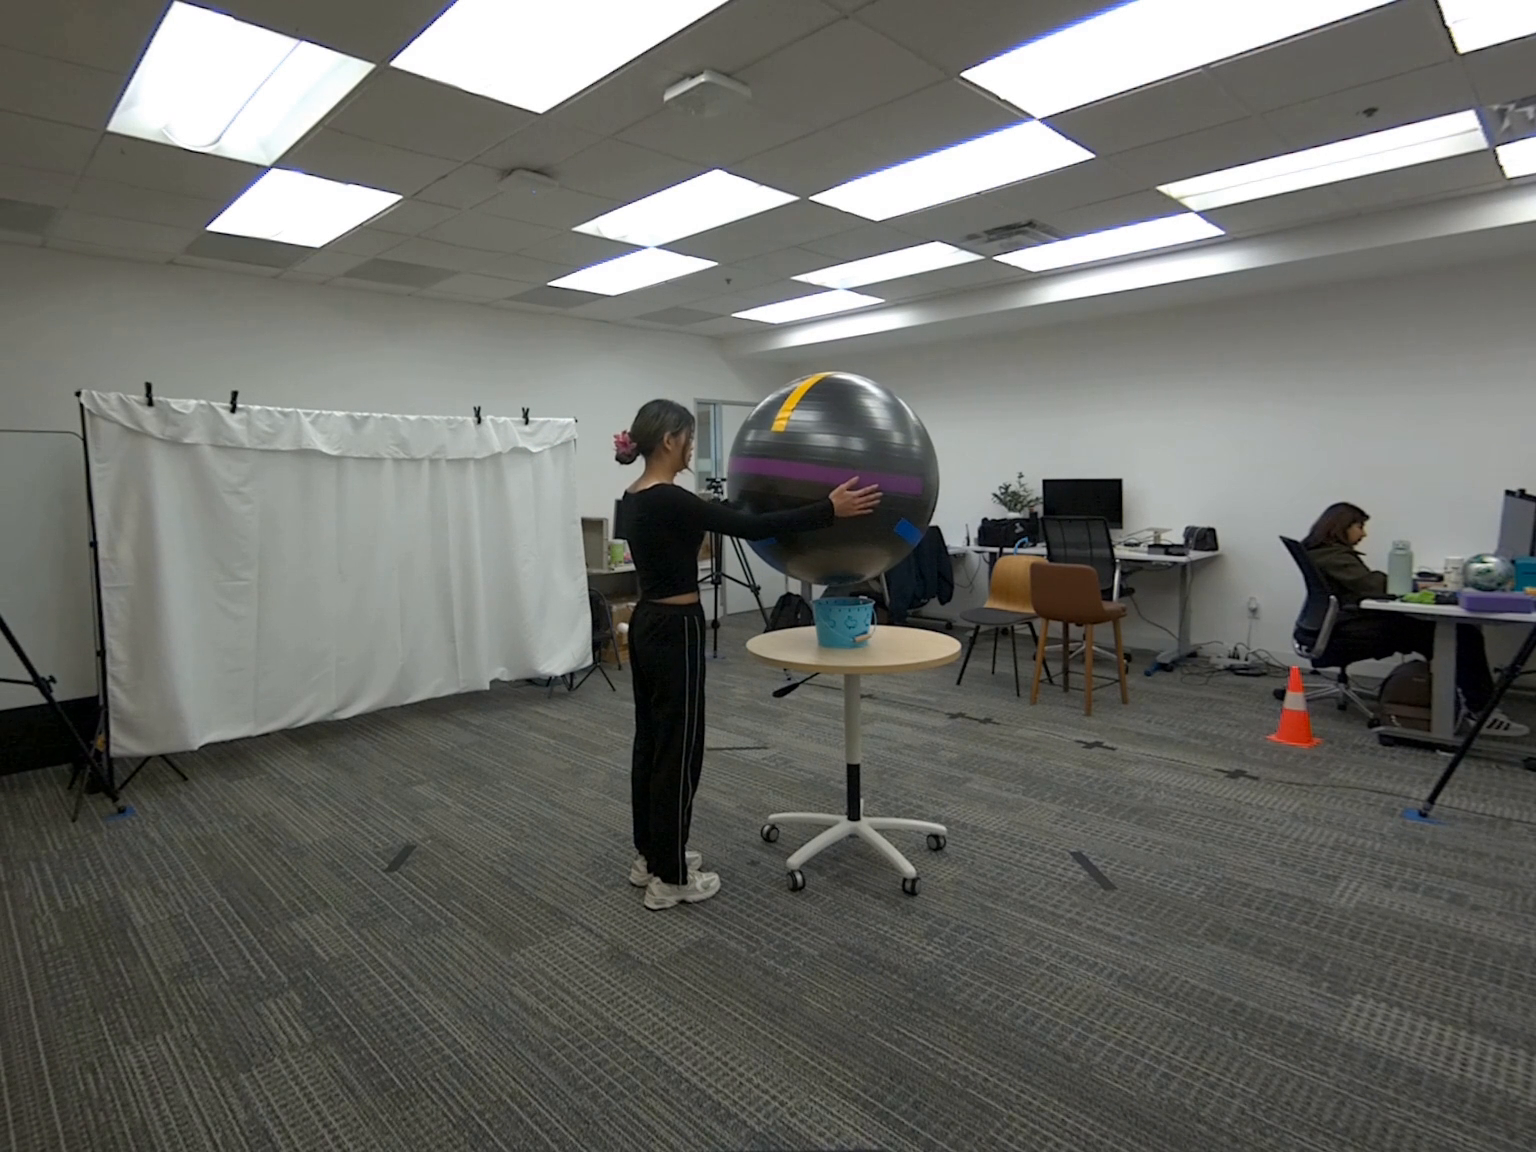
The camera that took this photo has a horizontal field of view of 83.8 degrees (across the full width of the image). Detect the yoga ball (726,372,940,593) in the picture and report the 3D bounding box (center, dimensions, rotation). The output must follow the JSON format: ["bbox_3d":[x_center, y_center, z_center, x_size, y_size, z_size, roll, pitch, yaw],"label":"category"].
[{"bbox_3d":[0.240,-0.339,3.076,0.757,0.755,0.762,-1,5,-2],"label":"yoga ball"}]
